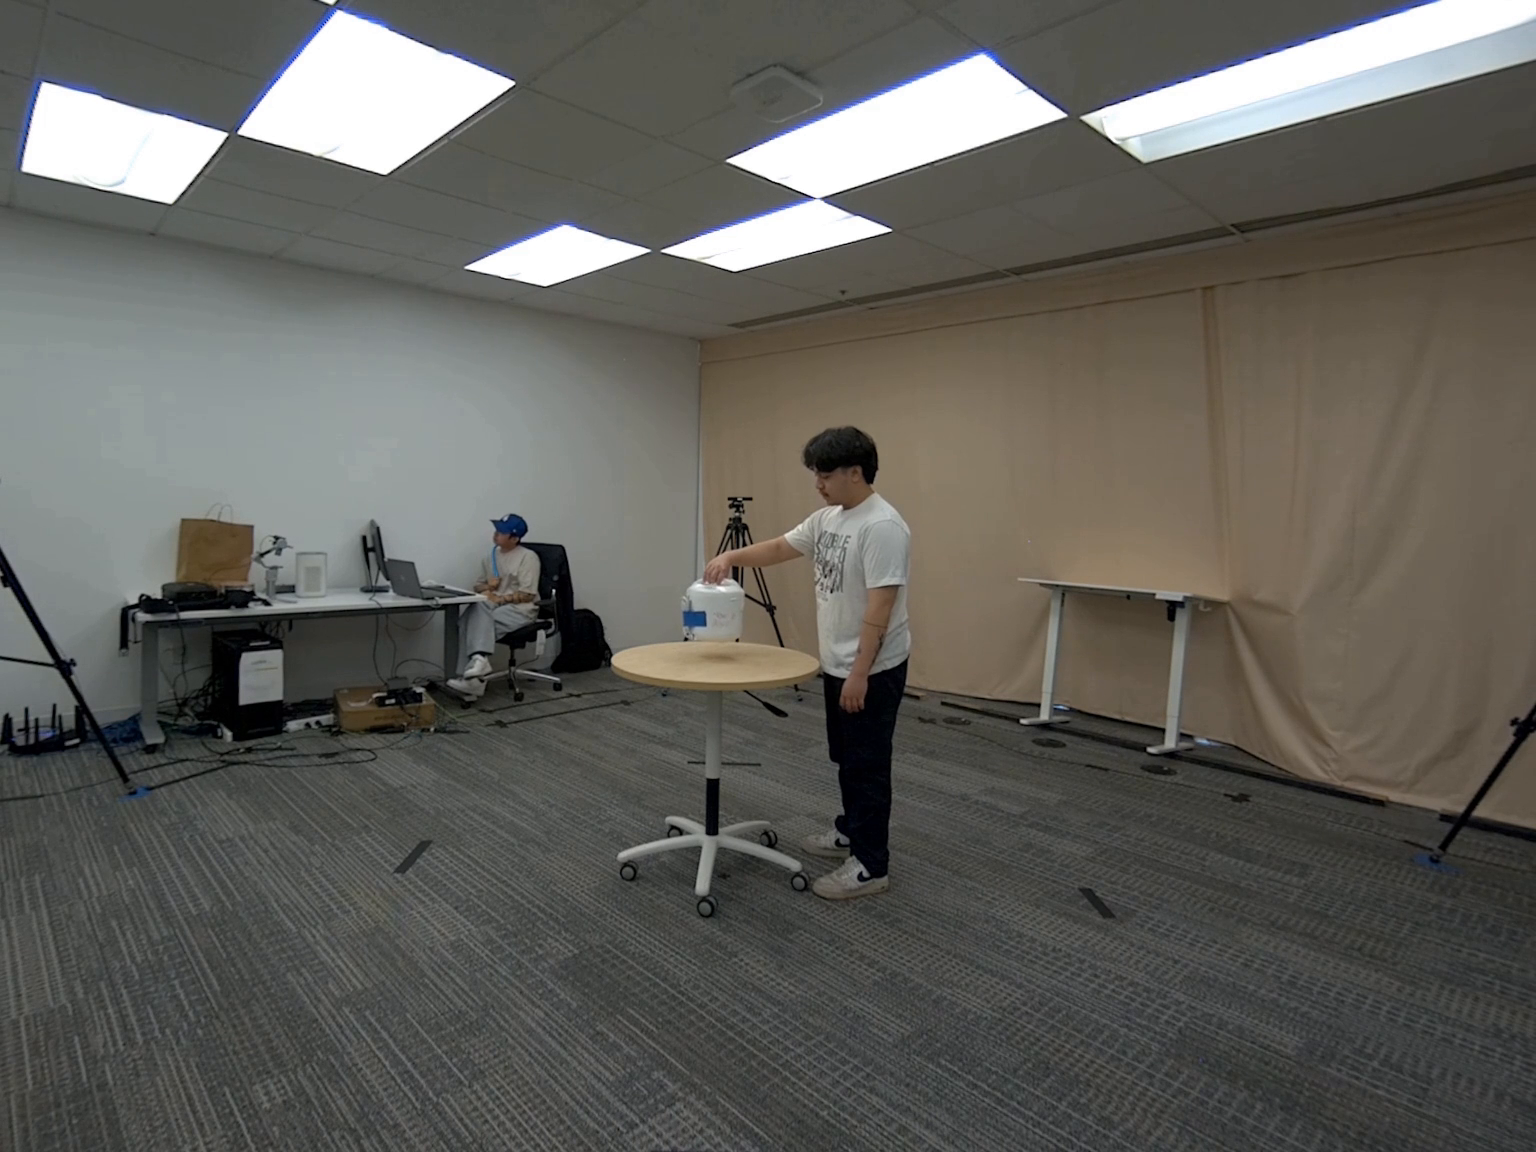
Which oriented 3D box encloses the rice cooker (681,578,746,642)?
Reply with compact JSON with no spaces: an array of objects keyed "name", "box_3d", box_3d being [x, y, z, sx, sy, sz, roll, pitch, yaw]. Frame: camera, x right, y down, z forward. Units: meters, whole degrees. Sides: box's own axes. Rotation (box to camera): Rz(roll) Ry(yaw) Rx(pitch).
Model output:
[{"name":"rice cooker","box_3d":[-0.205,0.119,3.144,0.223,0.232,0.215,4,4,13]}]
